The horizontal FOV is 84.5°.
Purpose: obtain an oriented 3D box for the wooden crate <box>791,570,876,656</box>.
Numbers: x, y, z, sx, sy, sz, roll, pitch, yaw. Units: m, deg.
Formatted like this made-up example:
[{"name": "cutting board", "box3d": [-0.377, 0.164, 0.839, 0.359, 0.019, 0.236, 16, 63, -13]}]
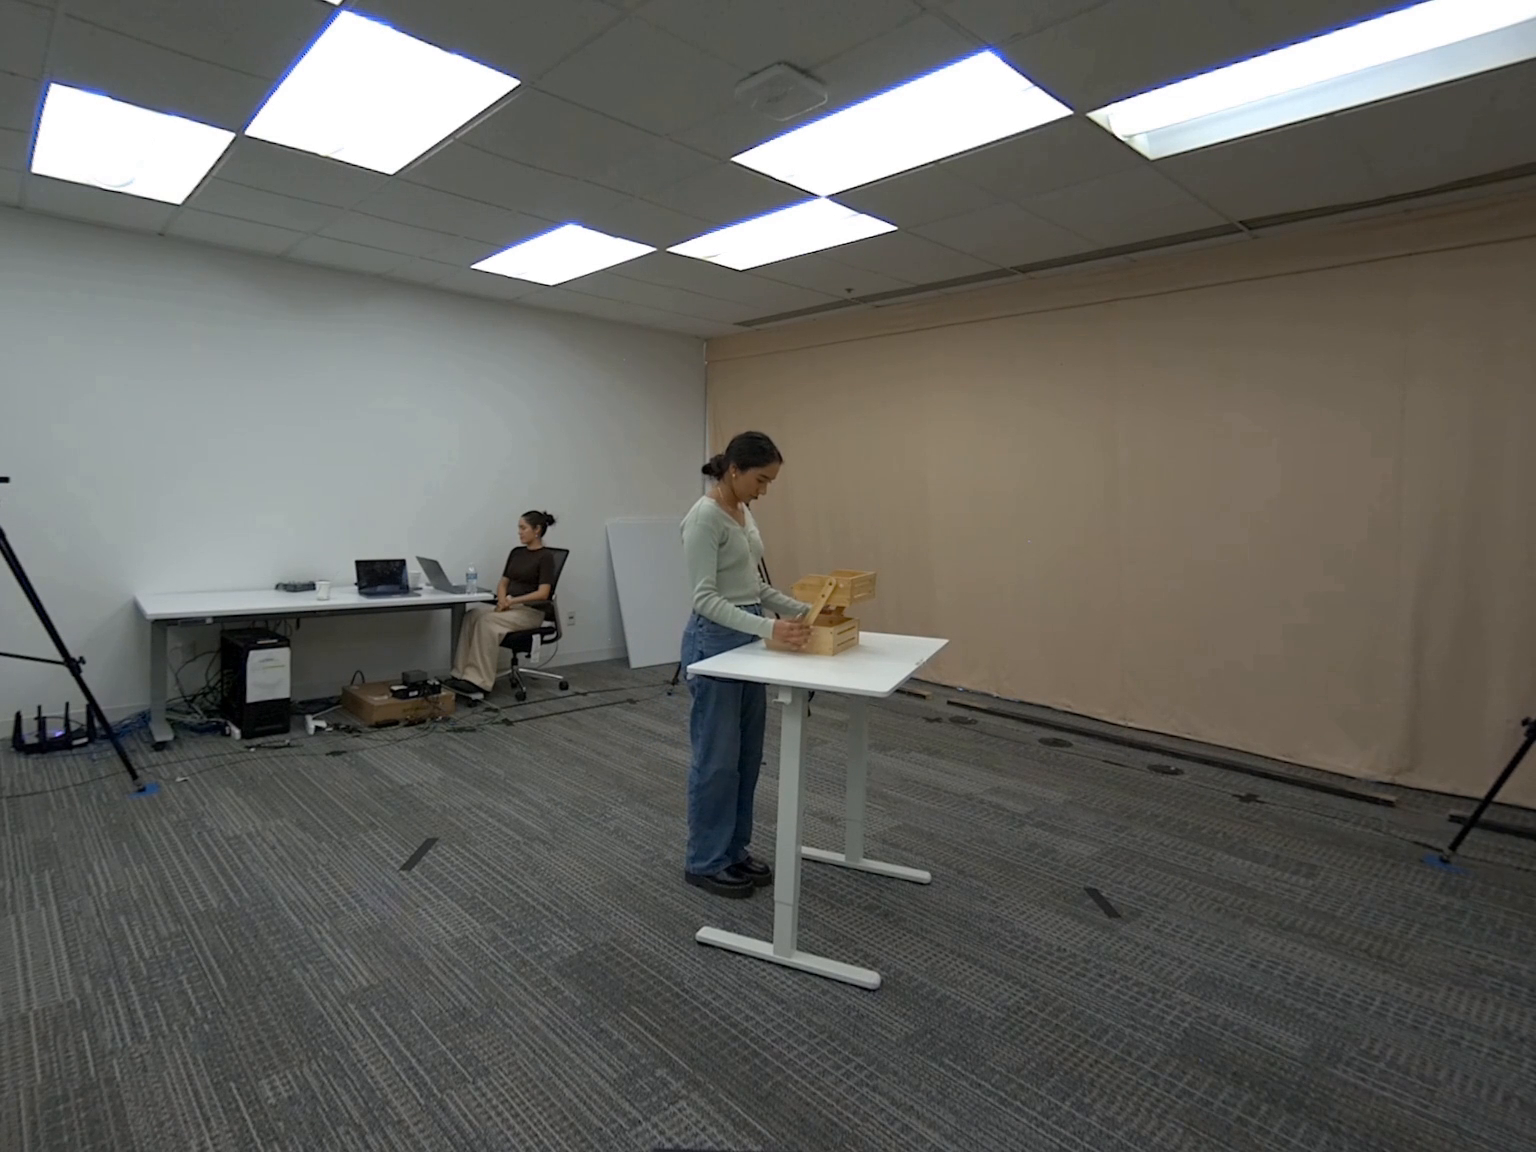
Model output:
[{"name": "wooden crate", "box3d": [0.170, 0.113, 2.902, 0.308, 0.272, 0.319, 5, 5, 24]}]
